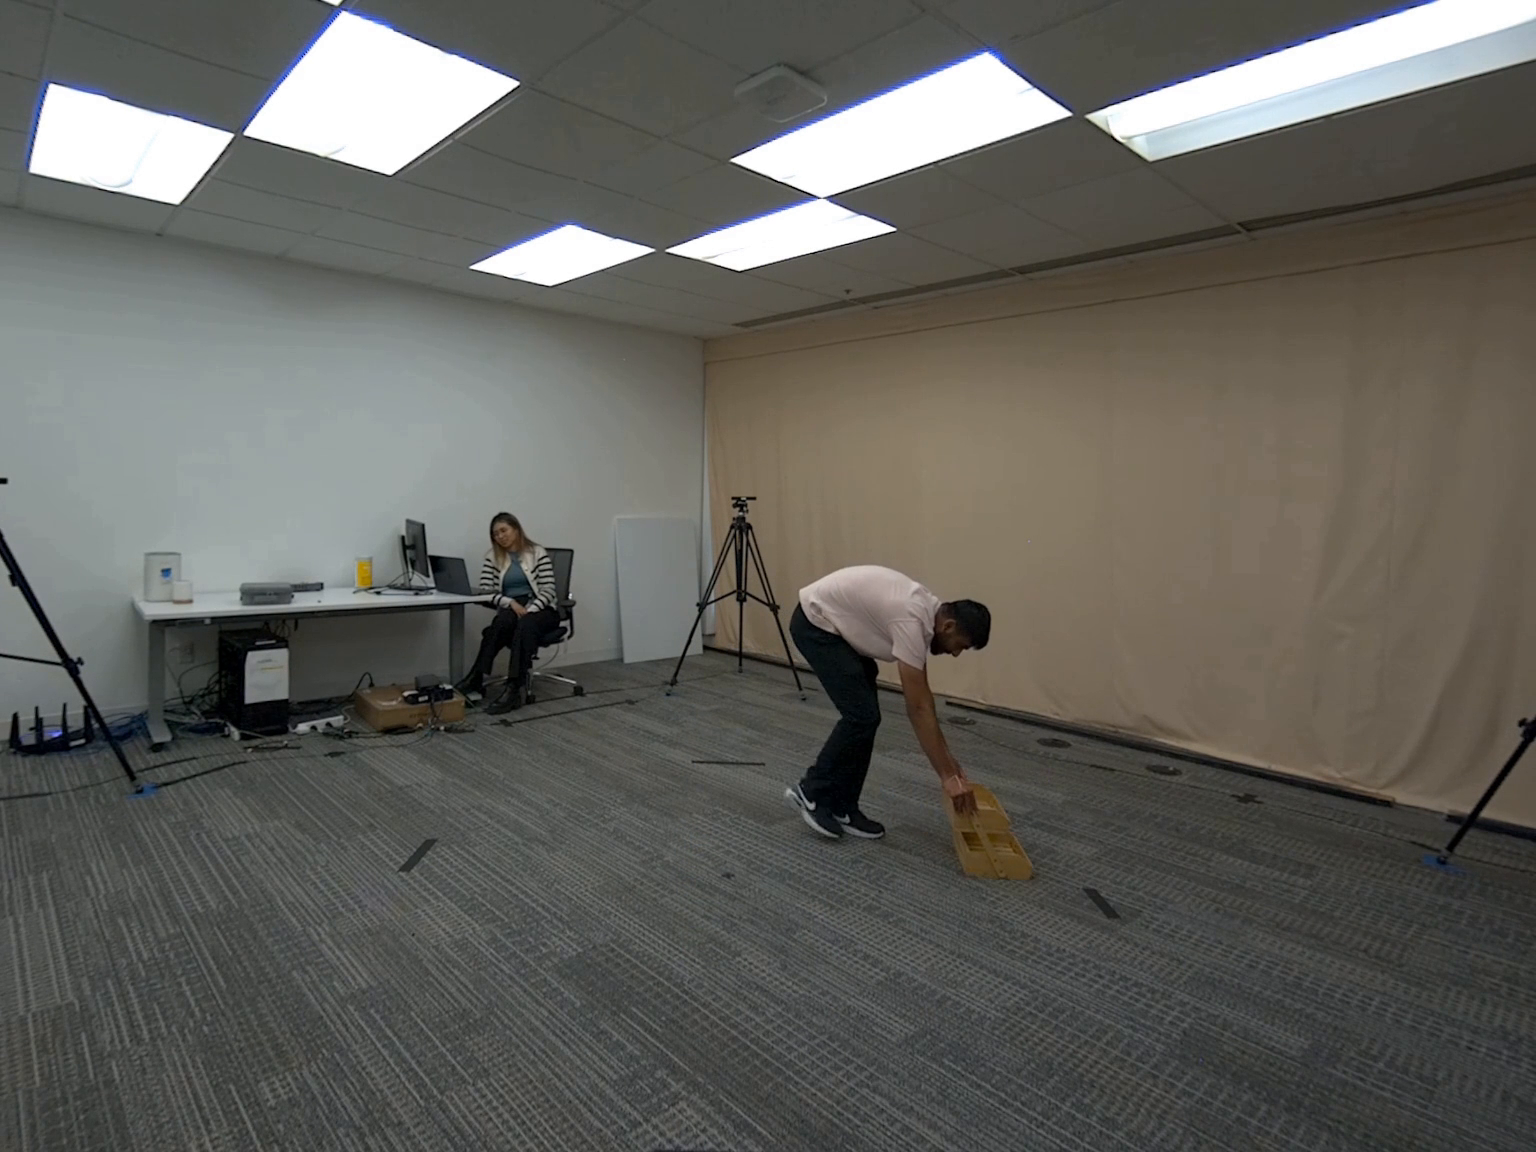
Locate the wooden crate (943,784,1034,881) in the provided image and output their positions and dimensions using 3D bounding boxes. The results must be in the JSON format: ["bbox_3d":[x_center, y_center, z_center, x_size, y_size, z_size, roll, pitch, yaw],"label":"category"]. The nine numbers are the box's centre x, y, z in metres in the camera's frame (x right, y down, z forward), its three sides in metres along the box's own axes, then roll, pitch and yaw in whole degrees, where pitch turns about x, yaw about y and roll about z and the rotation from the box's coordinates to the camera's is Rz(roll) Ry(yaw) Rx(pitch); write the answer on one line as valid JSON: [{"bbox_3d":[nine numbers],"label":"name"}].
[{"bbox_3d":[0.856,0.993,3.290,0.303,0.272,0.324,6,4,4],"label":"wooden crate"}]
